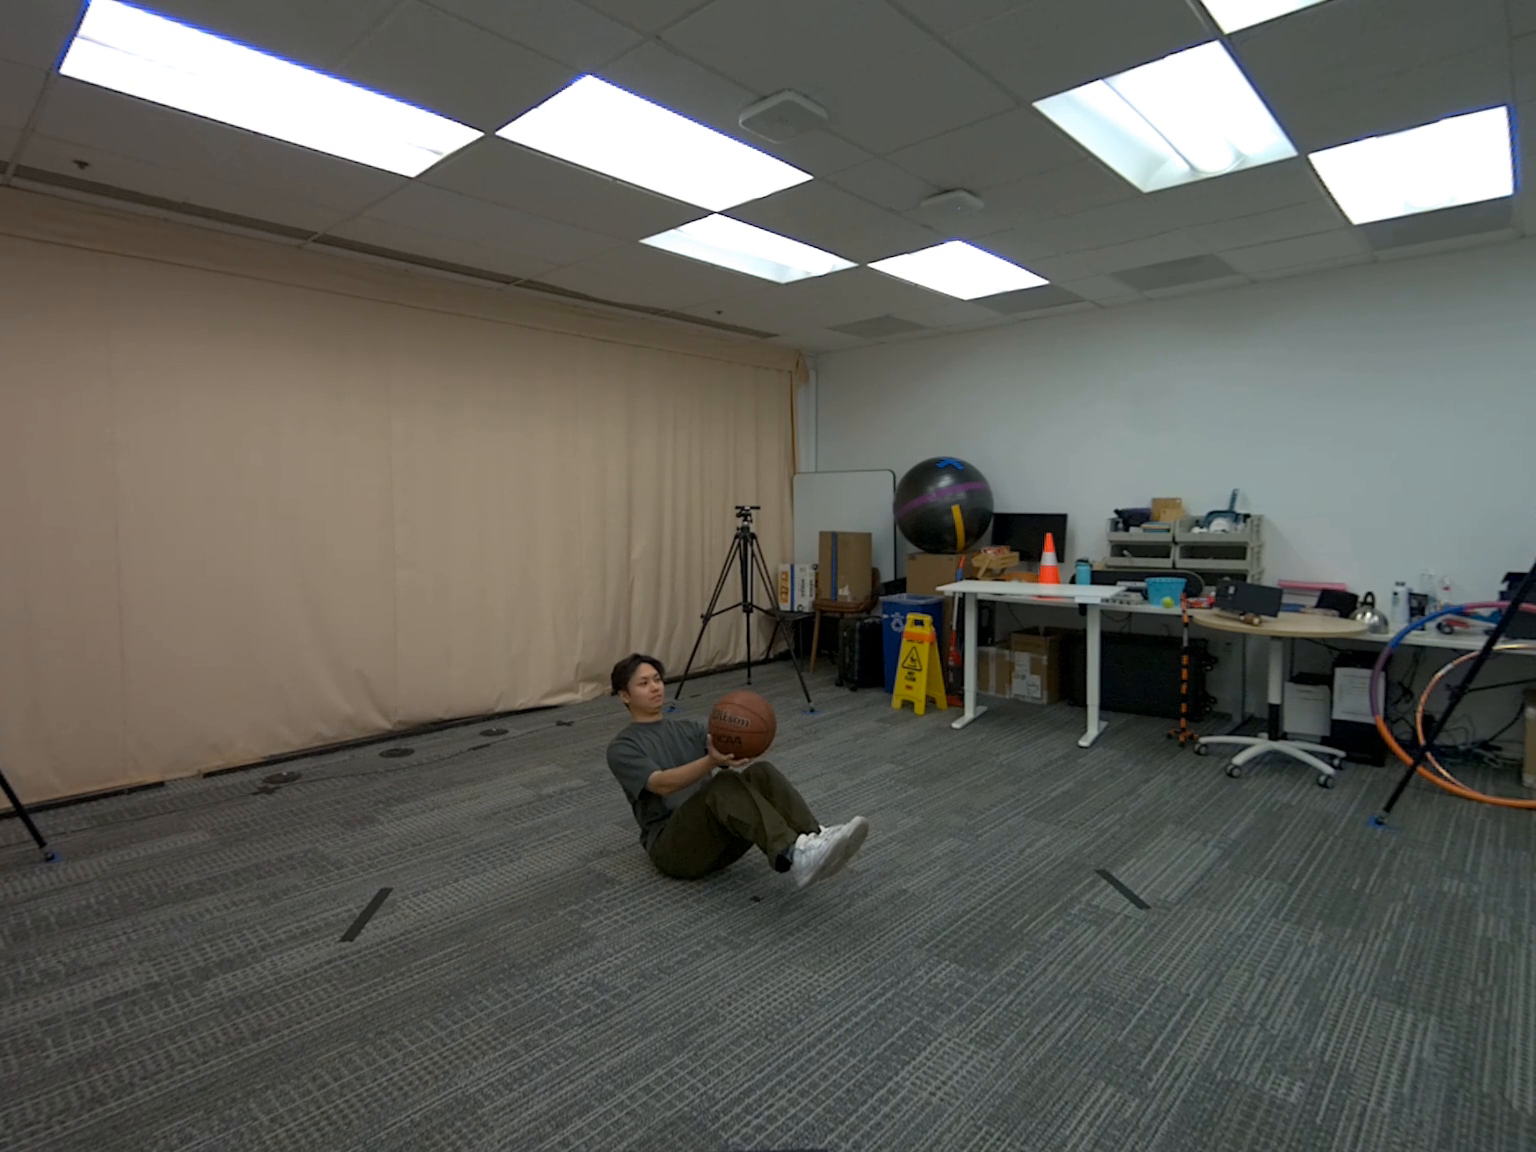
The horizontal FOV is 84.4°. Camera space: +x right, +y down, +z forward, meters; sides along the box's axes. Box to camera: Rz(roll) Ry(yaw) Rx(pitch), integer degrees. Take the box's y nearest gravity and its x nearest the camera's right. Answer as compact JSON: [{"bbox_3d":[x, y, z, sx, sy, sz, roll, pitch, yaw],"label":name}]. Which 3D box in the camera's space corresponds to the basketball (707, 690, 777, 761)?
[{"bbox_3d":[-0.087,0.535,2.944,0.236,0.235,0.237,0,4,-2],"label":"basketball"}]
